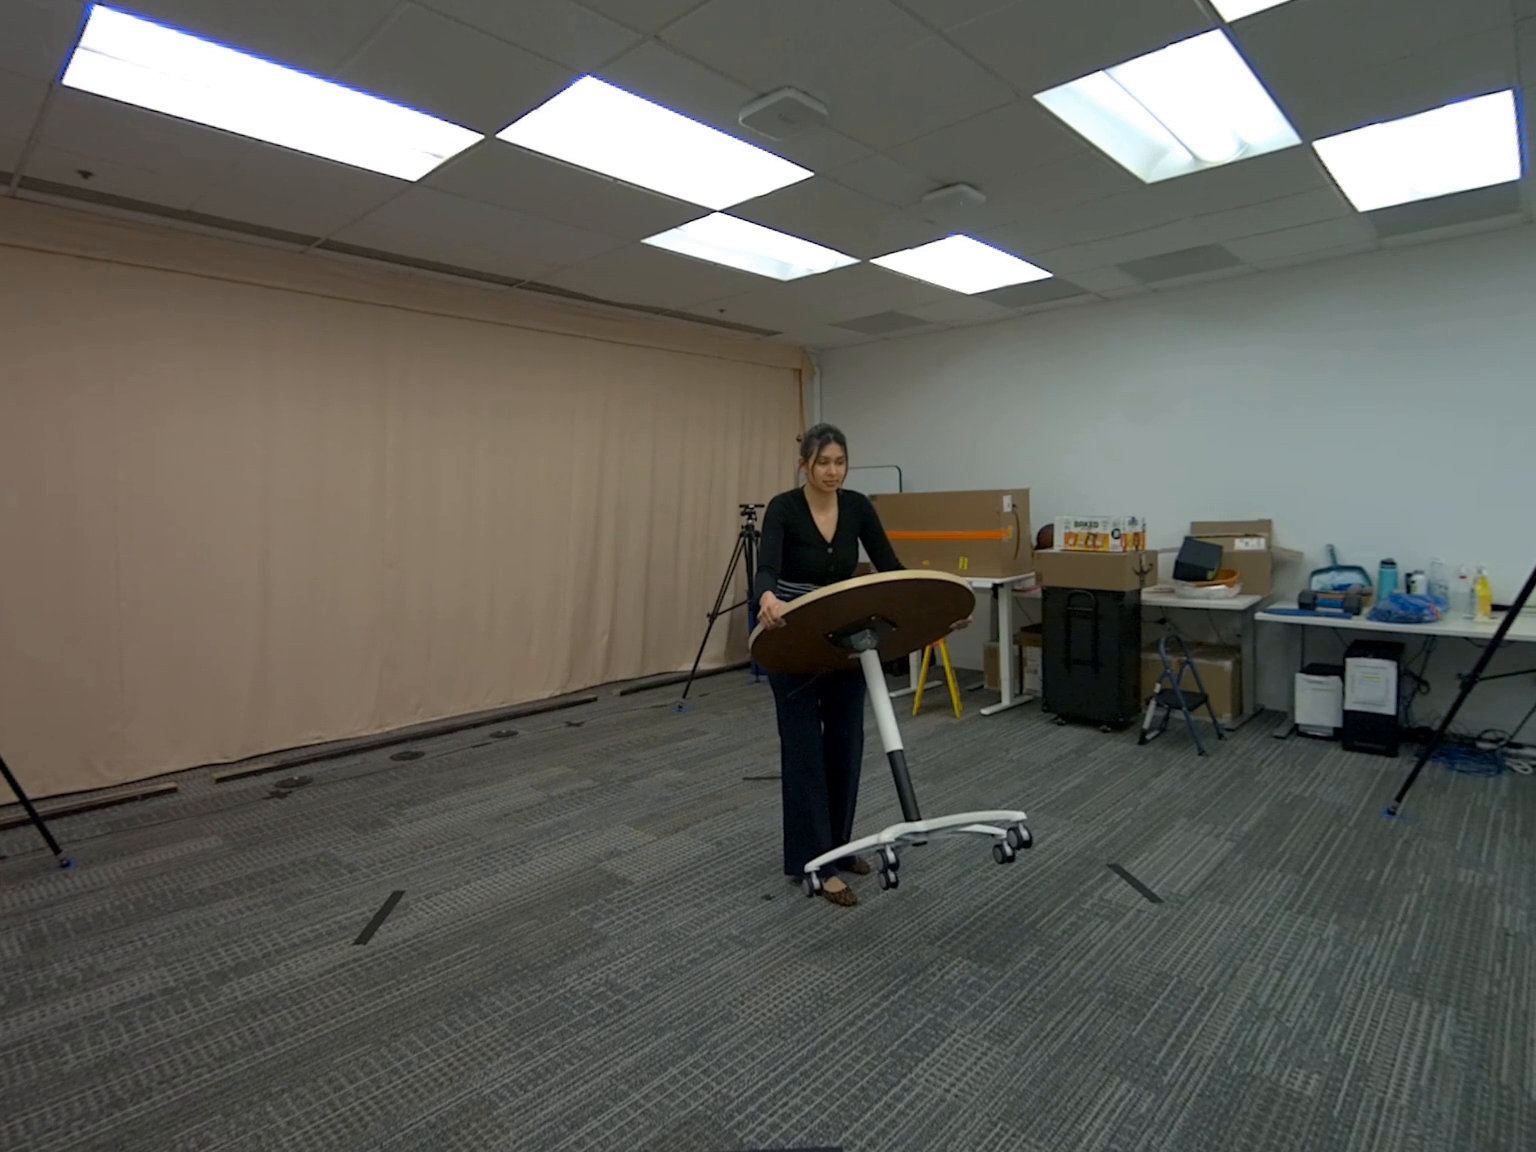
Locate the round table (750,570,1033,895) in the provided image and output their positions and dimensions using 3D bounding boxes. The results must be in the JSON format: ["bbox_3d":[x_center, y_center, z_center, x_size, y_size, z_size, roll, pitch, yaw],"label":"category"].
[{"bbox_3d":[0.395,0.517,2.647,0.760,0.809,0.753,-9,-25,-6],"label":"round table"}]
